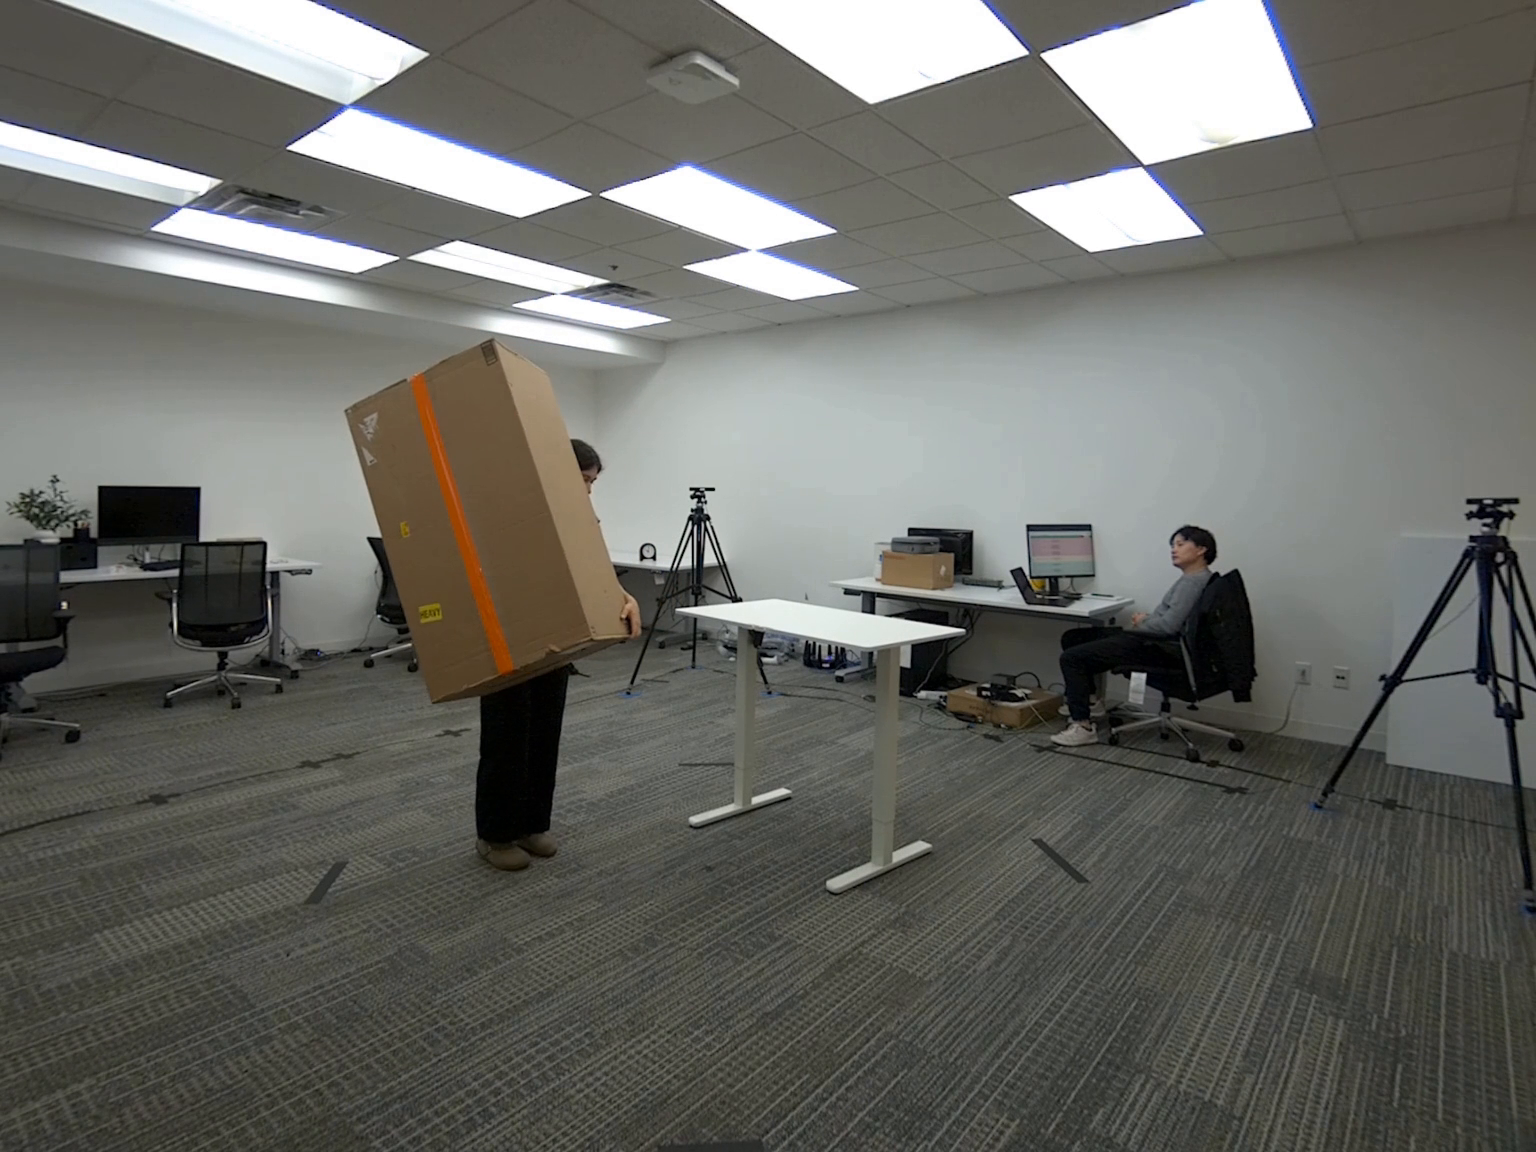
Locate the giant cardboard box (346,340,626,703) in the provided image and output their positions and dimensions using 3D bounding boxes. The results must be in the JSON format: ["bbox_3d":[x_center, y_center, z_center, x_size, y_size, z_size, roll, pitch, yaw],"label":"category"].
[{"bbox_3d":[-0.938,-0.170,2.870,0.581,1.039,0.418,-23,-9,11],"label":"giant cardboard box"}]
